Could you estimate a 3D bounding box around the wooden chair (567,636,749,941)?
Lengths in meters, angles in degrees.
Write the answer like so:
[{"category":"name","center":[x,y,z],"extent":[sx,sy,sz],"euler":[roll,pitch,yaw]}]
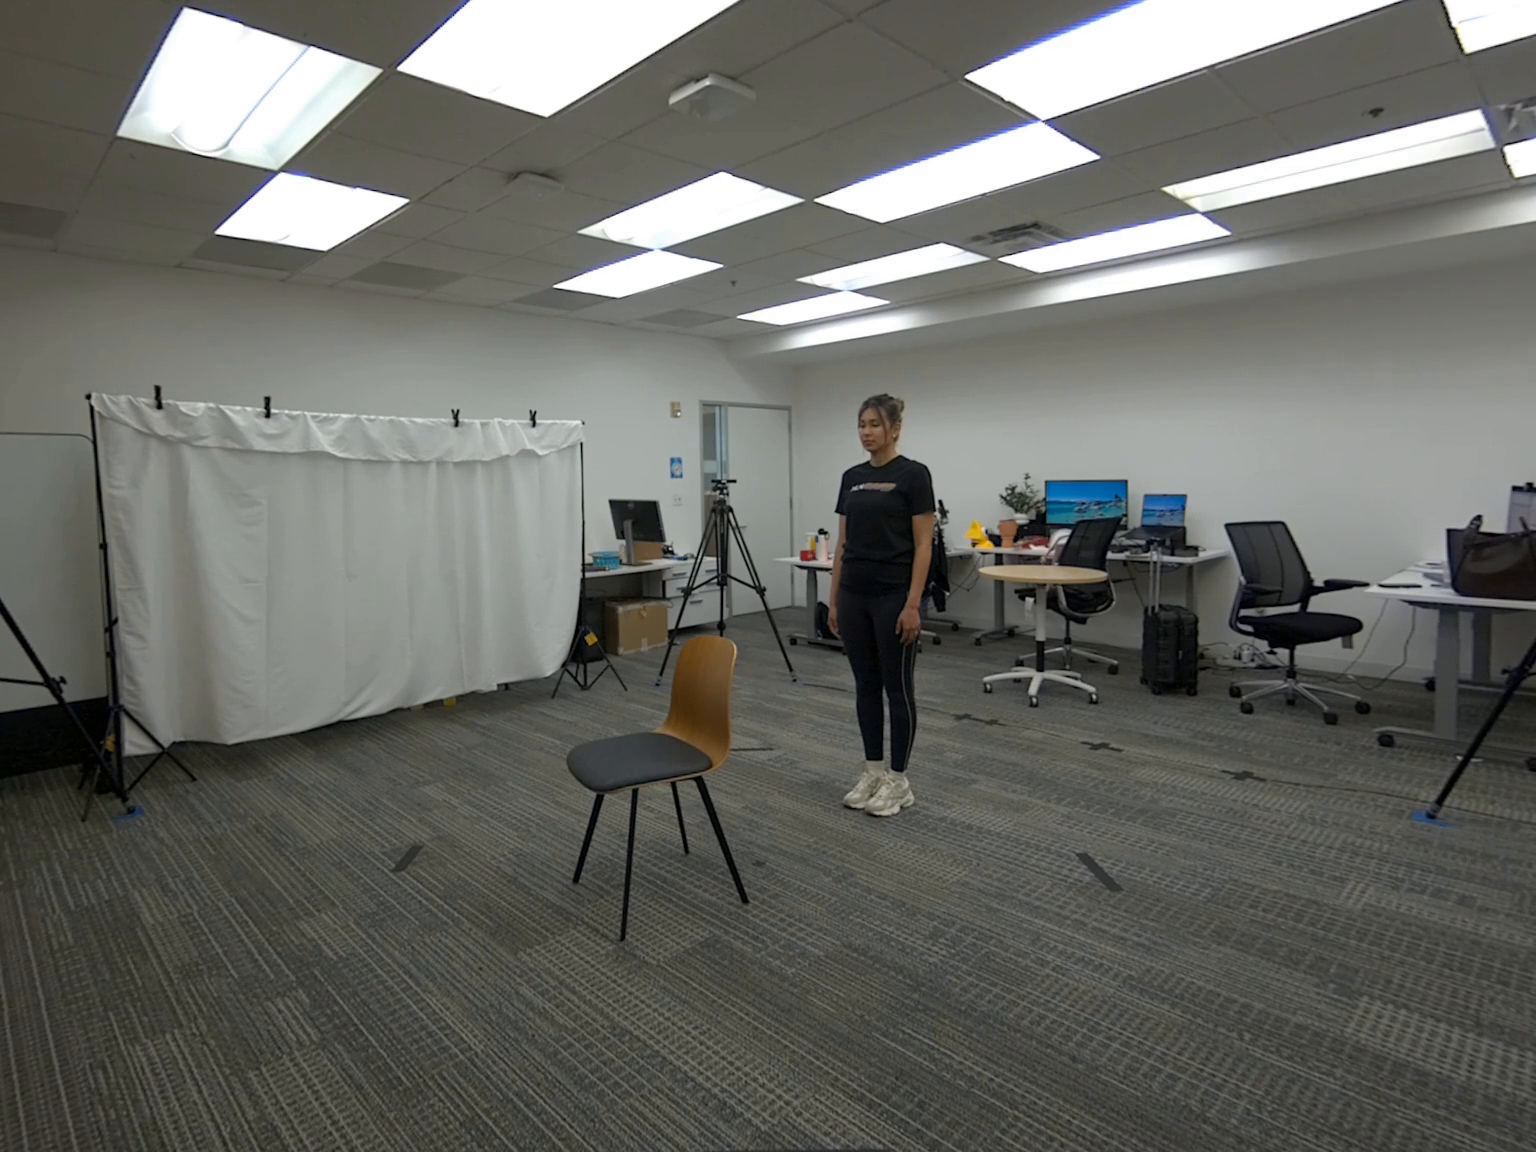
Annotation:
[{"category":"wooden chair","center":[-0.386,0.655,2.864],"extent":[0.510,0.876,0.491],"euler":[1,3,-31]}]
